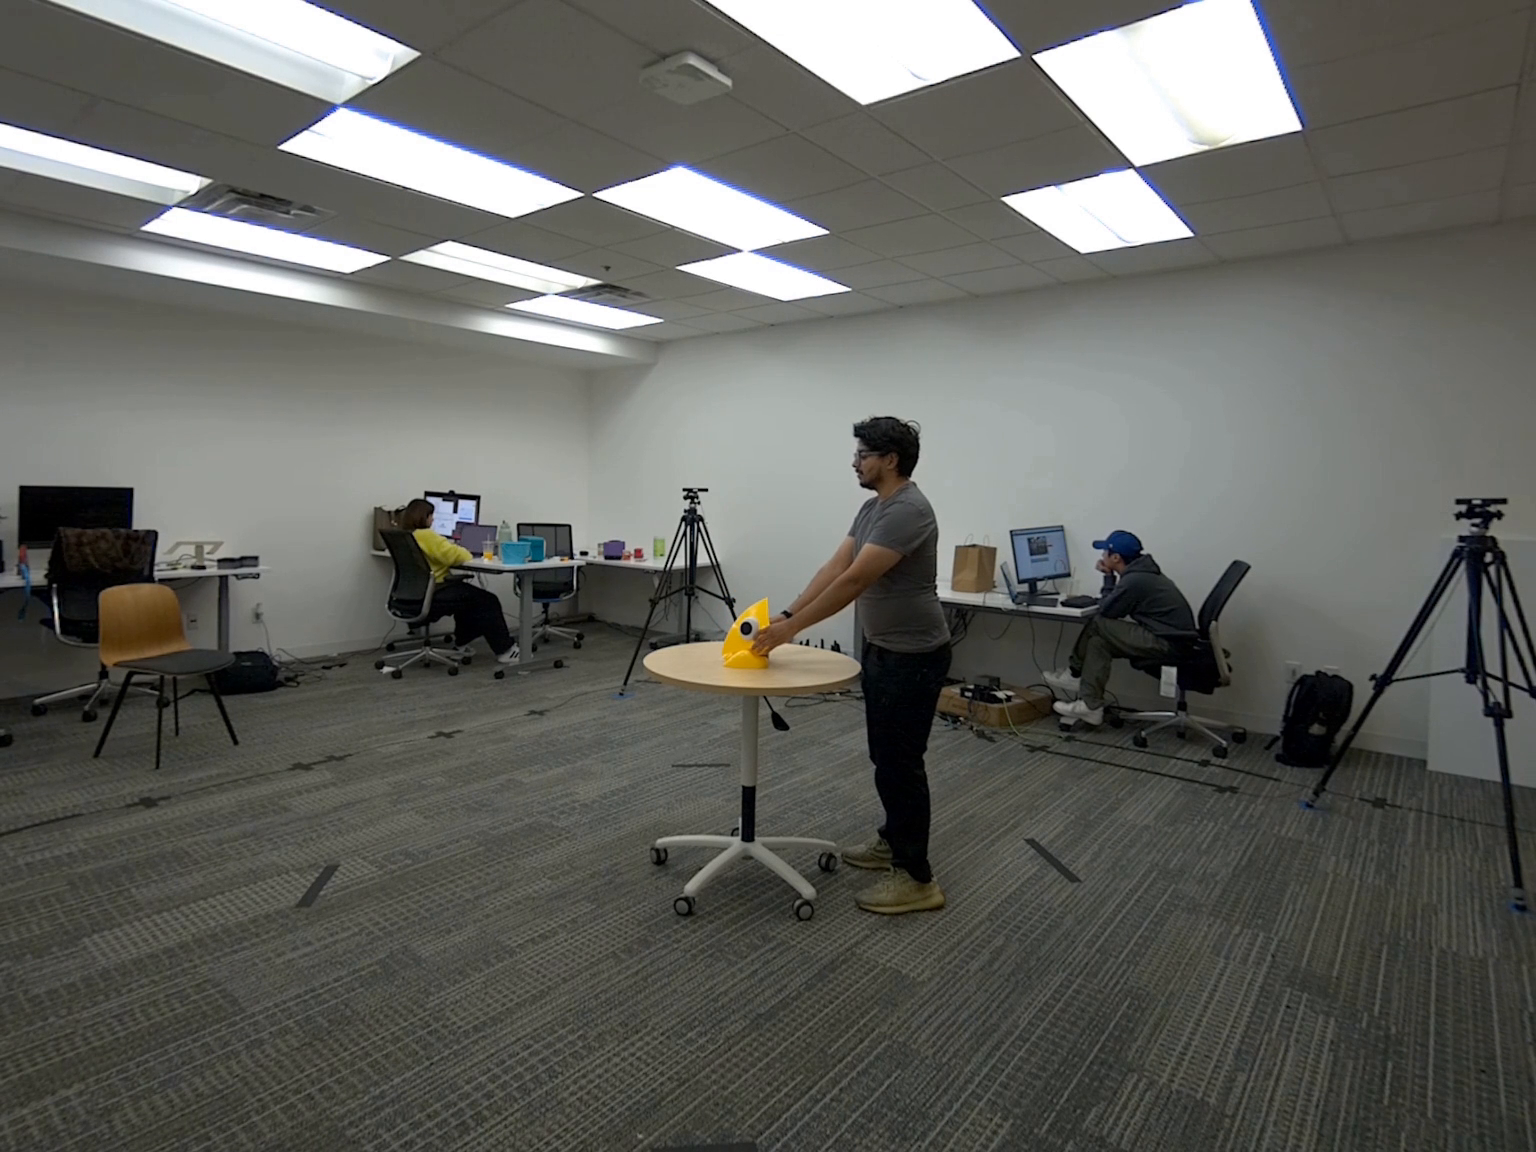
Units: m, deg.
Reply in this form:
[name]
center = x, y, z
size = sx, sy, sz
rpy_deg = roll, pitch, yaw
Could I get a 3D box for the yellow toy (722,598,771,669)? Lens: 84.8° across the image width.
[yellow toy]
center = -0.075, 0.186, 2.986
size = 0.193, 0.230, 0.206
rpy_deg = 0, 4, -1
